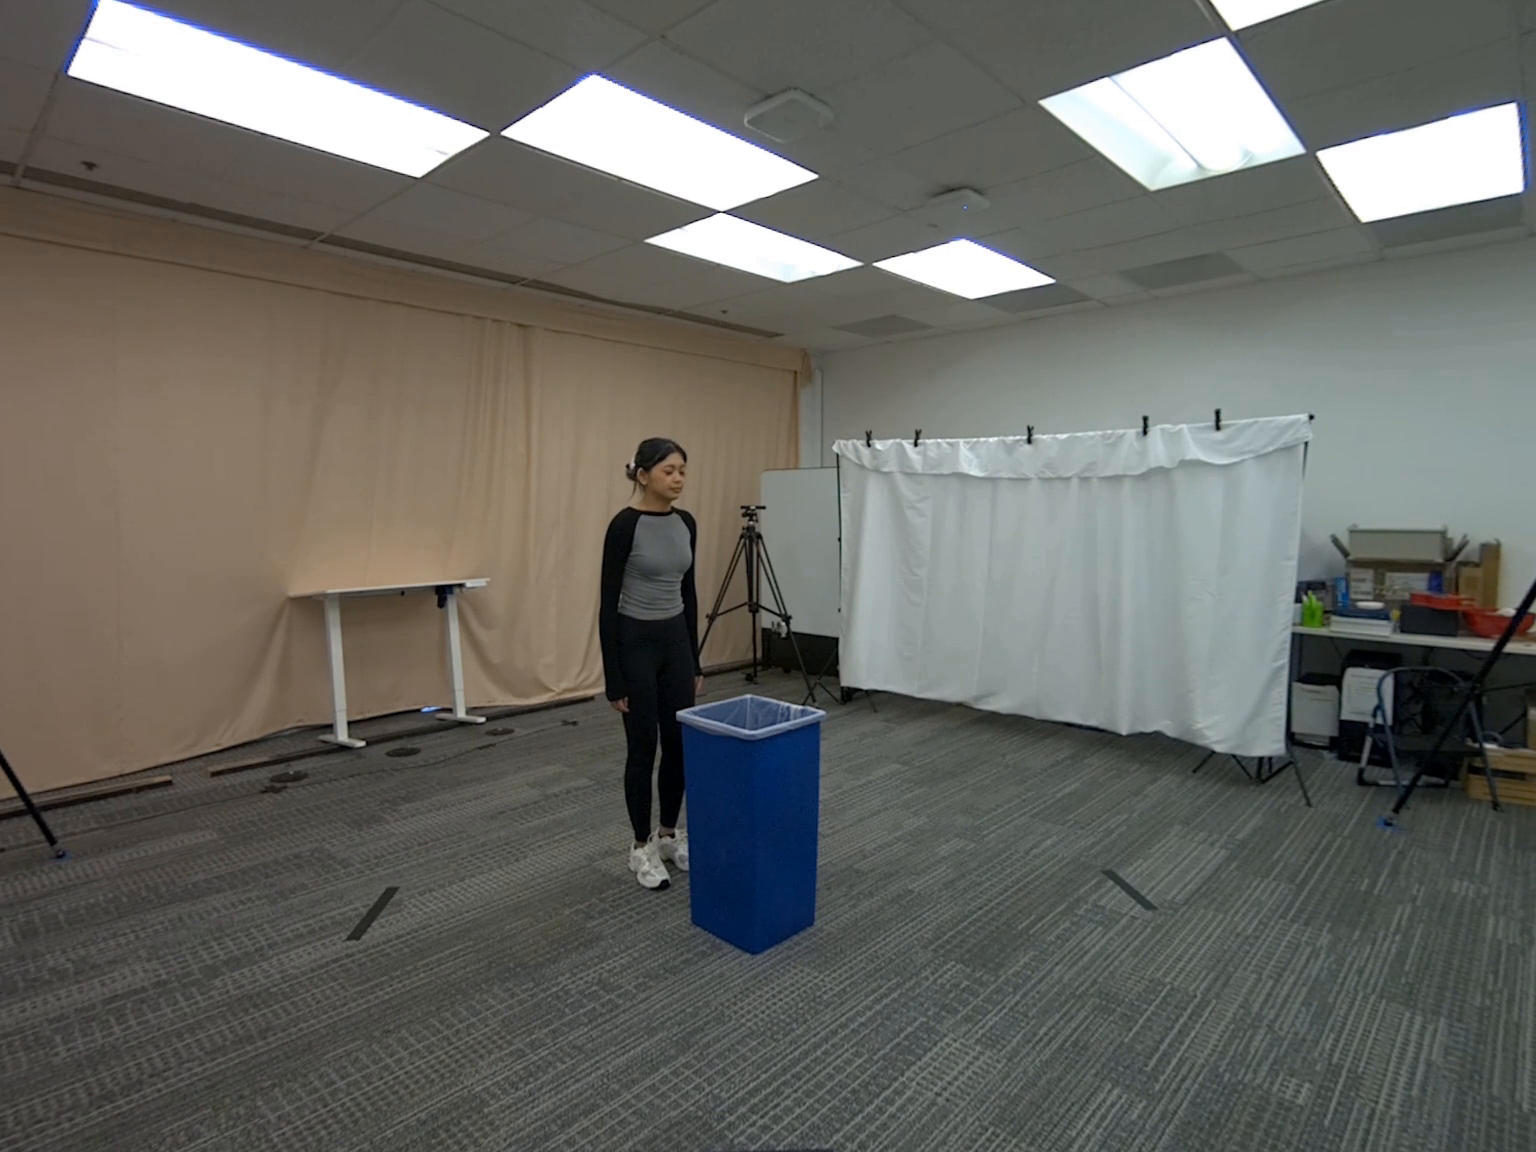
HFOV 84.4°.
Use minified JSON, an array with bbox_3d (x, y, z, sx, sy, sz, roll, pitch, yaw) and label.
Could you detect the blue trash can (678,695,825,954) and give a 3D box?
[{"bbox_3d":[-0.051,0.803,2.785,0.390,0.712,0.362,3,4,45],"label":"blue trash can"}]
